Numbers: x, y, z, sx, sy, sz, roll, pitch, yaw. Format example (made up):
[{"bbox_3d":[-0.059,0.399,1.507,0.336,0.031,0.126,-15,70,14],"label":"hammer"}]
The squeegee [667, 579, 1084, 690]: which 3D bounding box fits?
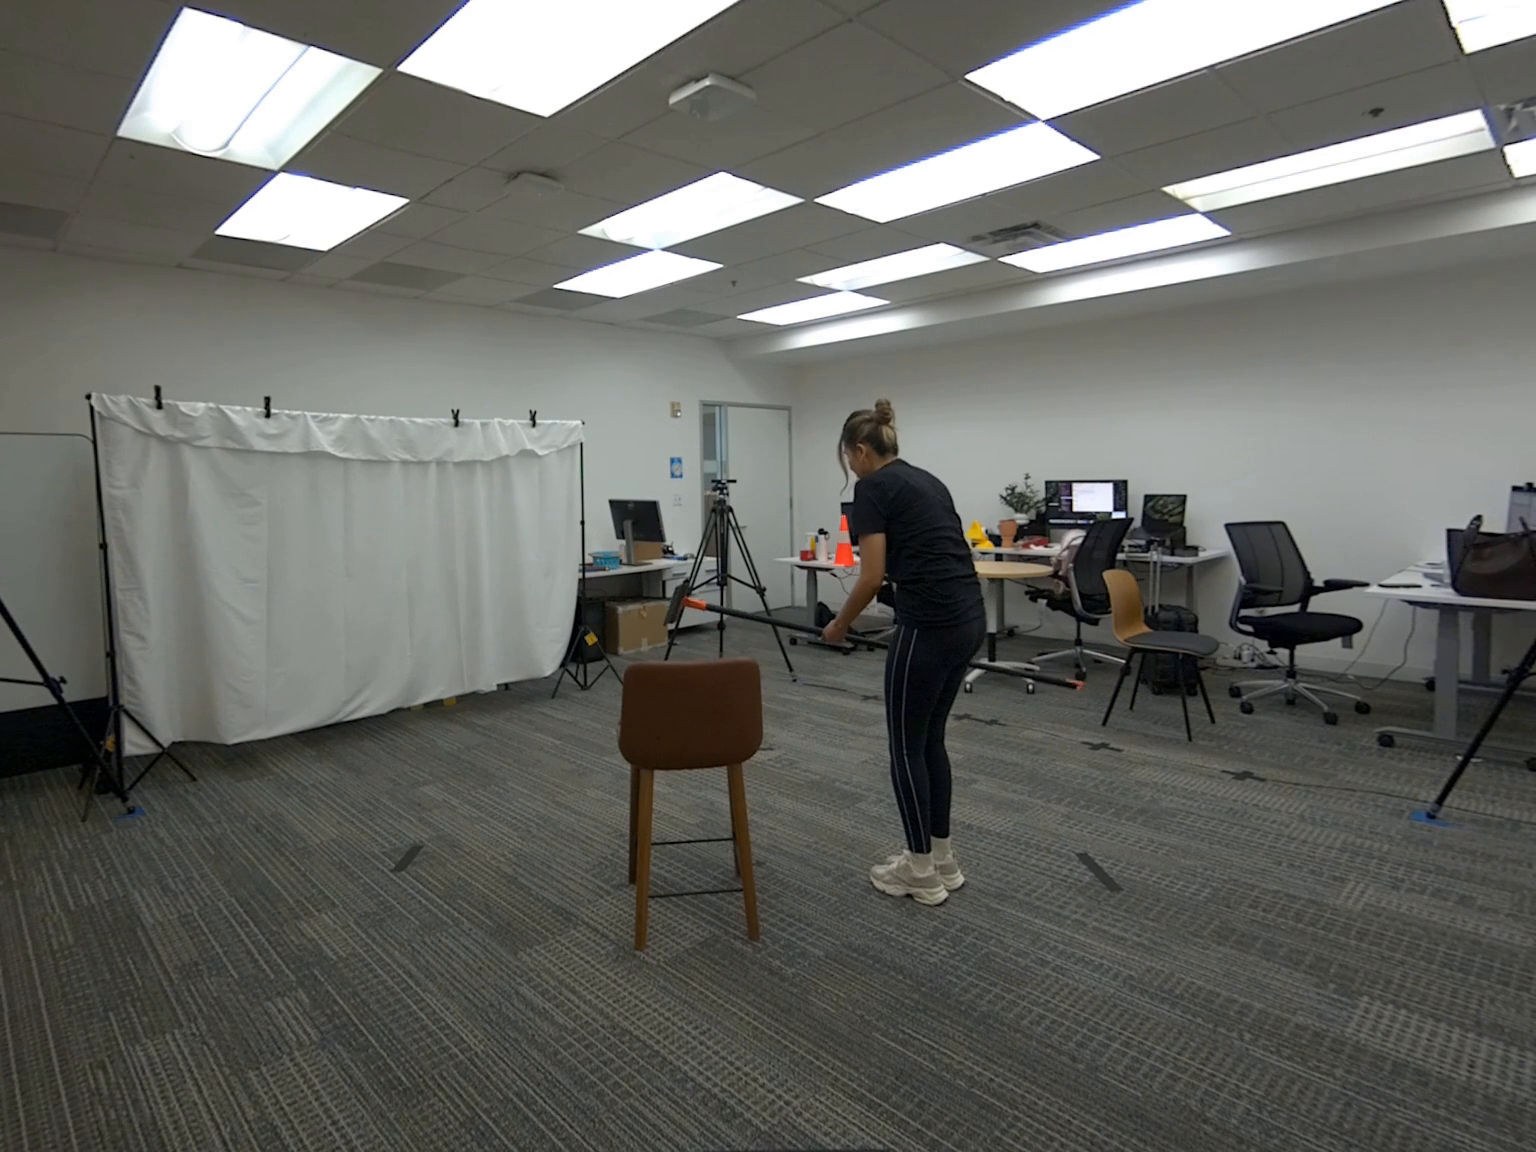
[{"bbox_3d":[0.410,0.270,3.109,1.524,0.054,0.433,12,-29,-8],"label":"squeegee"}]
